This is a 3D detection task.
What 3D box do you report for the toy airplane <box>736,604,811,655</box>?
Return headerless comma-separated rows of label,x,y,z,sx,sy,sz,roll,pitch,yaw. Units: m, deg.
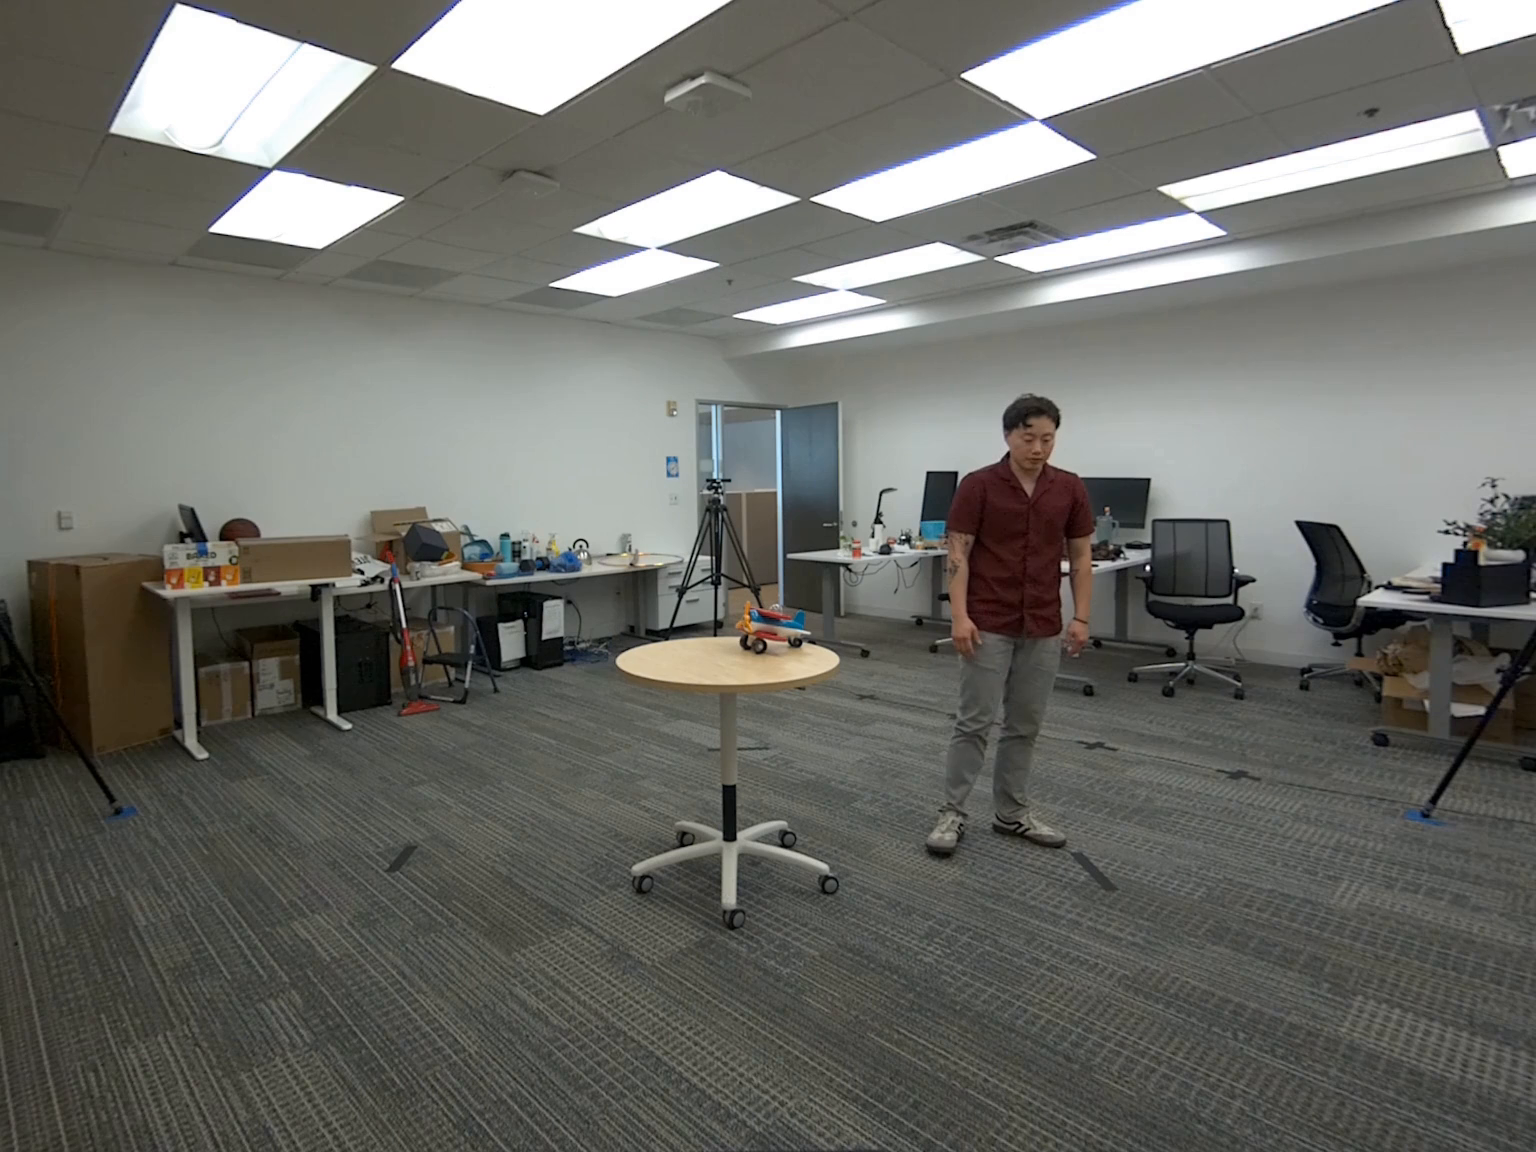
toy airplane,0.013,0.185,3.091,0.258,0.155,0.253,4,8,33
